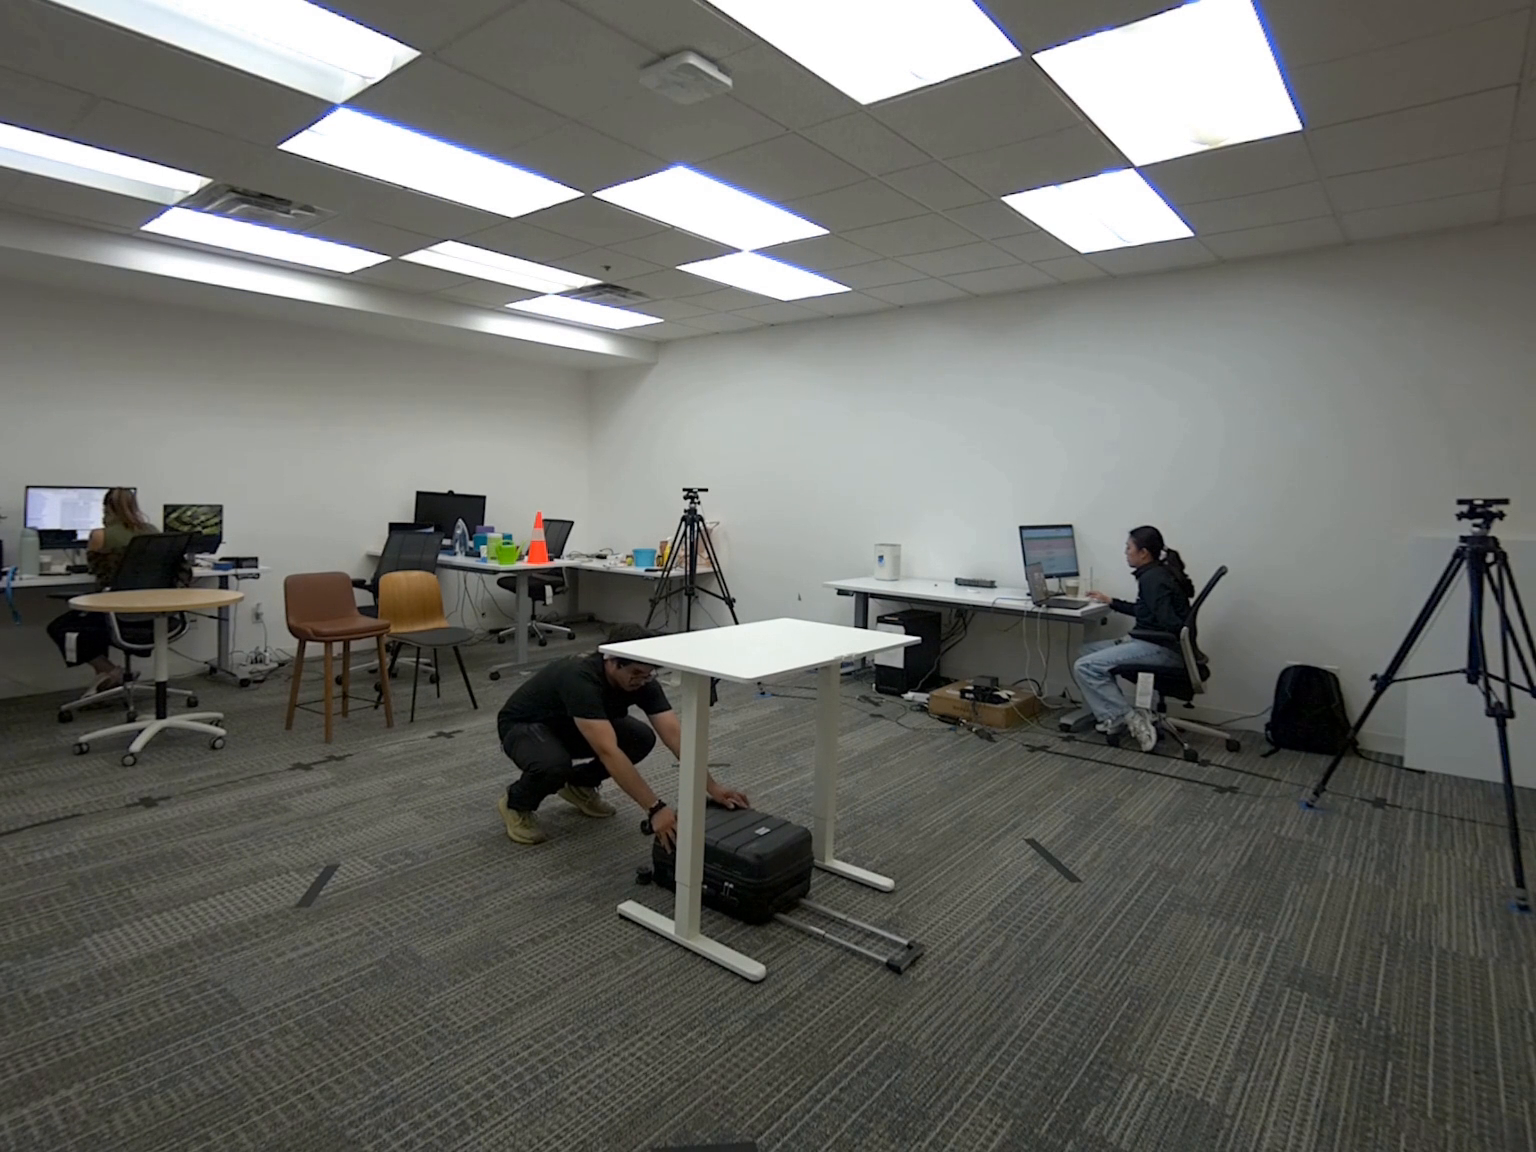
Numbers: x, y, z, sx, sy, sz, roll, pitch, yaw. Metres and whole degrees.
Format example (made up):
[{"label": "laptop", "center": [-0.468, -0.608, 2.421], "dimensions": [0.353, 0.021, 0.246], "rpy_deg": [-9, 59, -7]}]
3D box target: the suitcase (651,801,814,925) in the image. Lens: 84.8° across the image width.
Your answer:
[{"label": "suitcase", "center": [0.026, 0.979, 2.824], "dimensions": [1.011, 0.256, 0.373], "rpy_deg": [4, 5, 38]}]
